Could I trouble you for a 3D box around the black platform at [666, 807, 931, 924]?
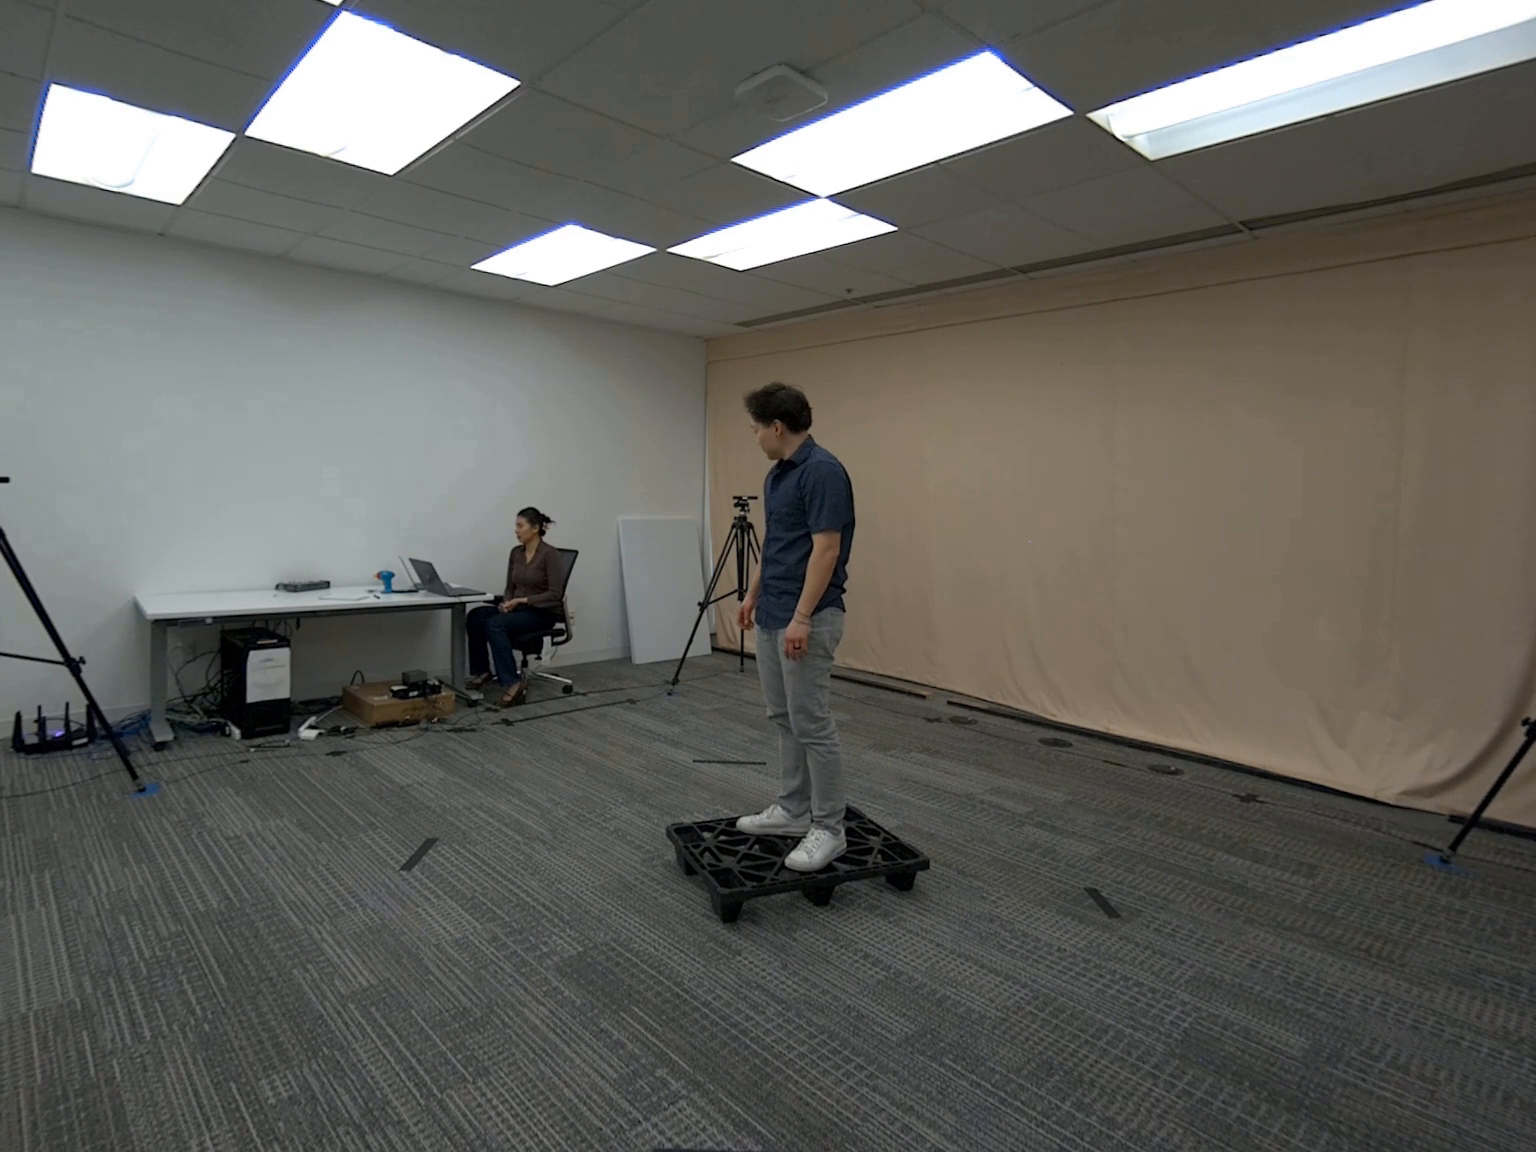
[{"bbox_3d":[0.090,1.044,3.091,0.792,0.143,0.617,-1,6,-23],"label":"black platform"}]
